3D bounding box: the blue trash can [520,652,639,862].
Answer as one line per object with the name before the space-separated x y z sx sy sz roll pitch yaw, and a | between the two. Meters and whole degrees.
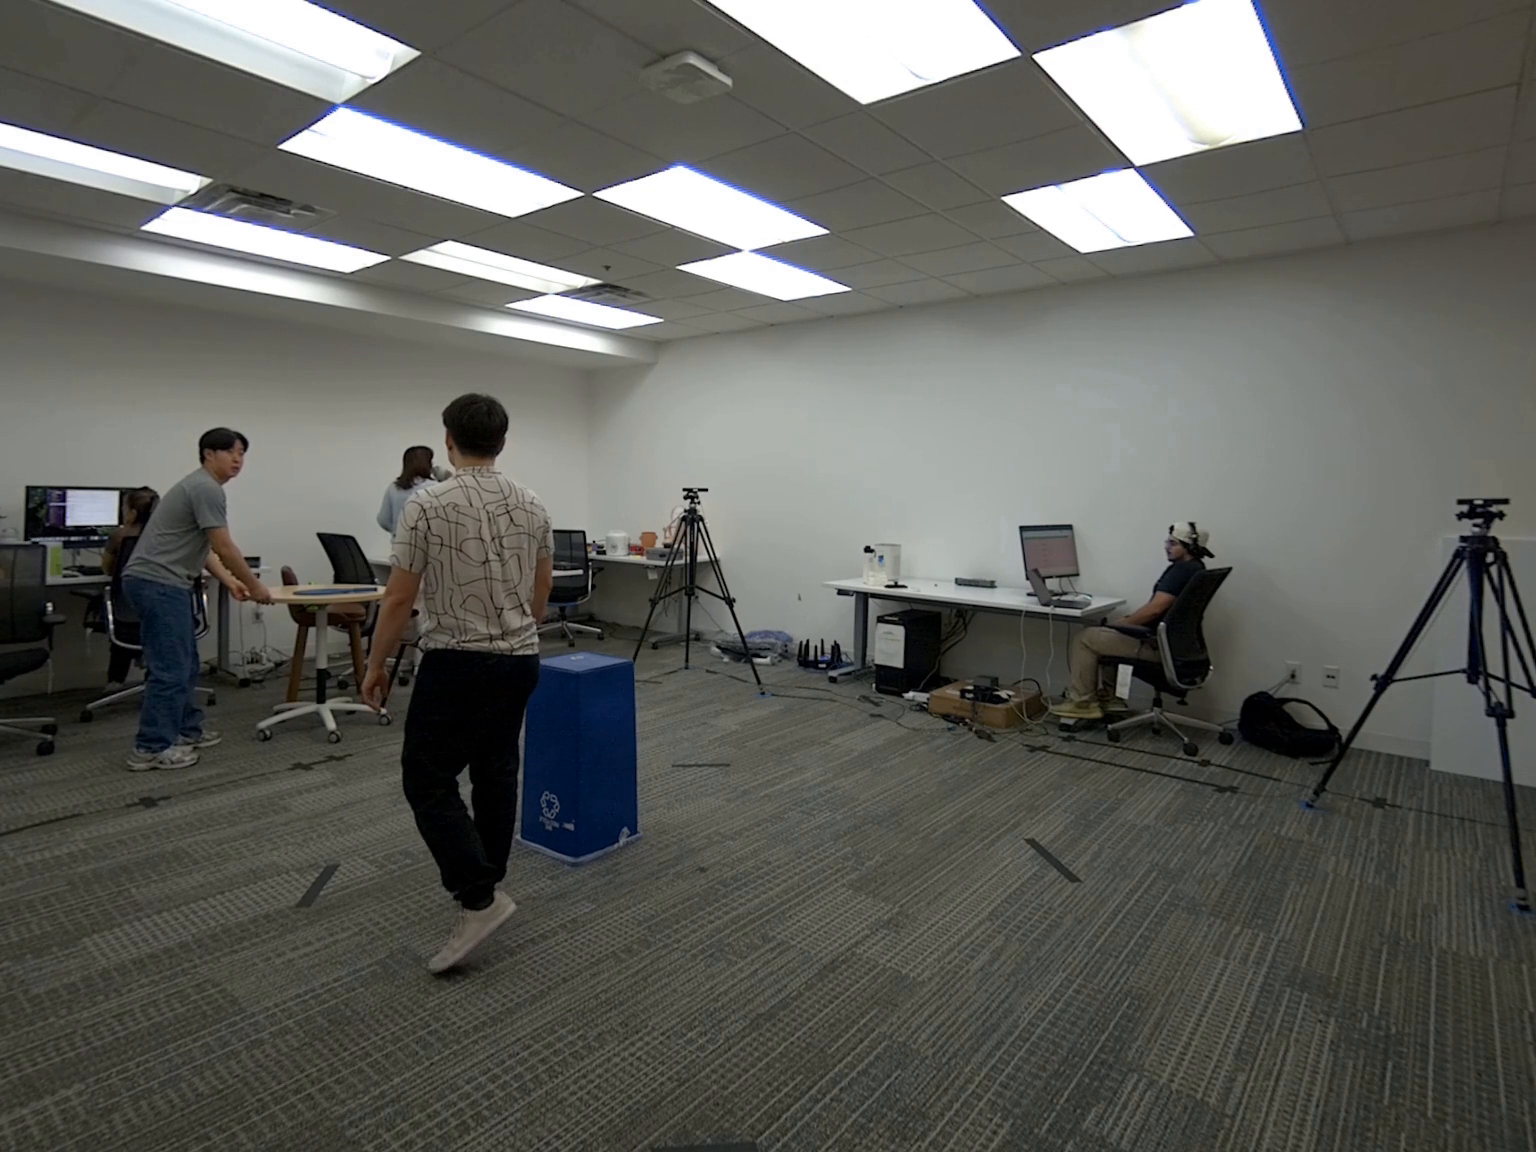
blue trash can | -0.752 0.685 3.349 0.386 0.712 0.367 2 3 37
